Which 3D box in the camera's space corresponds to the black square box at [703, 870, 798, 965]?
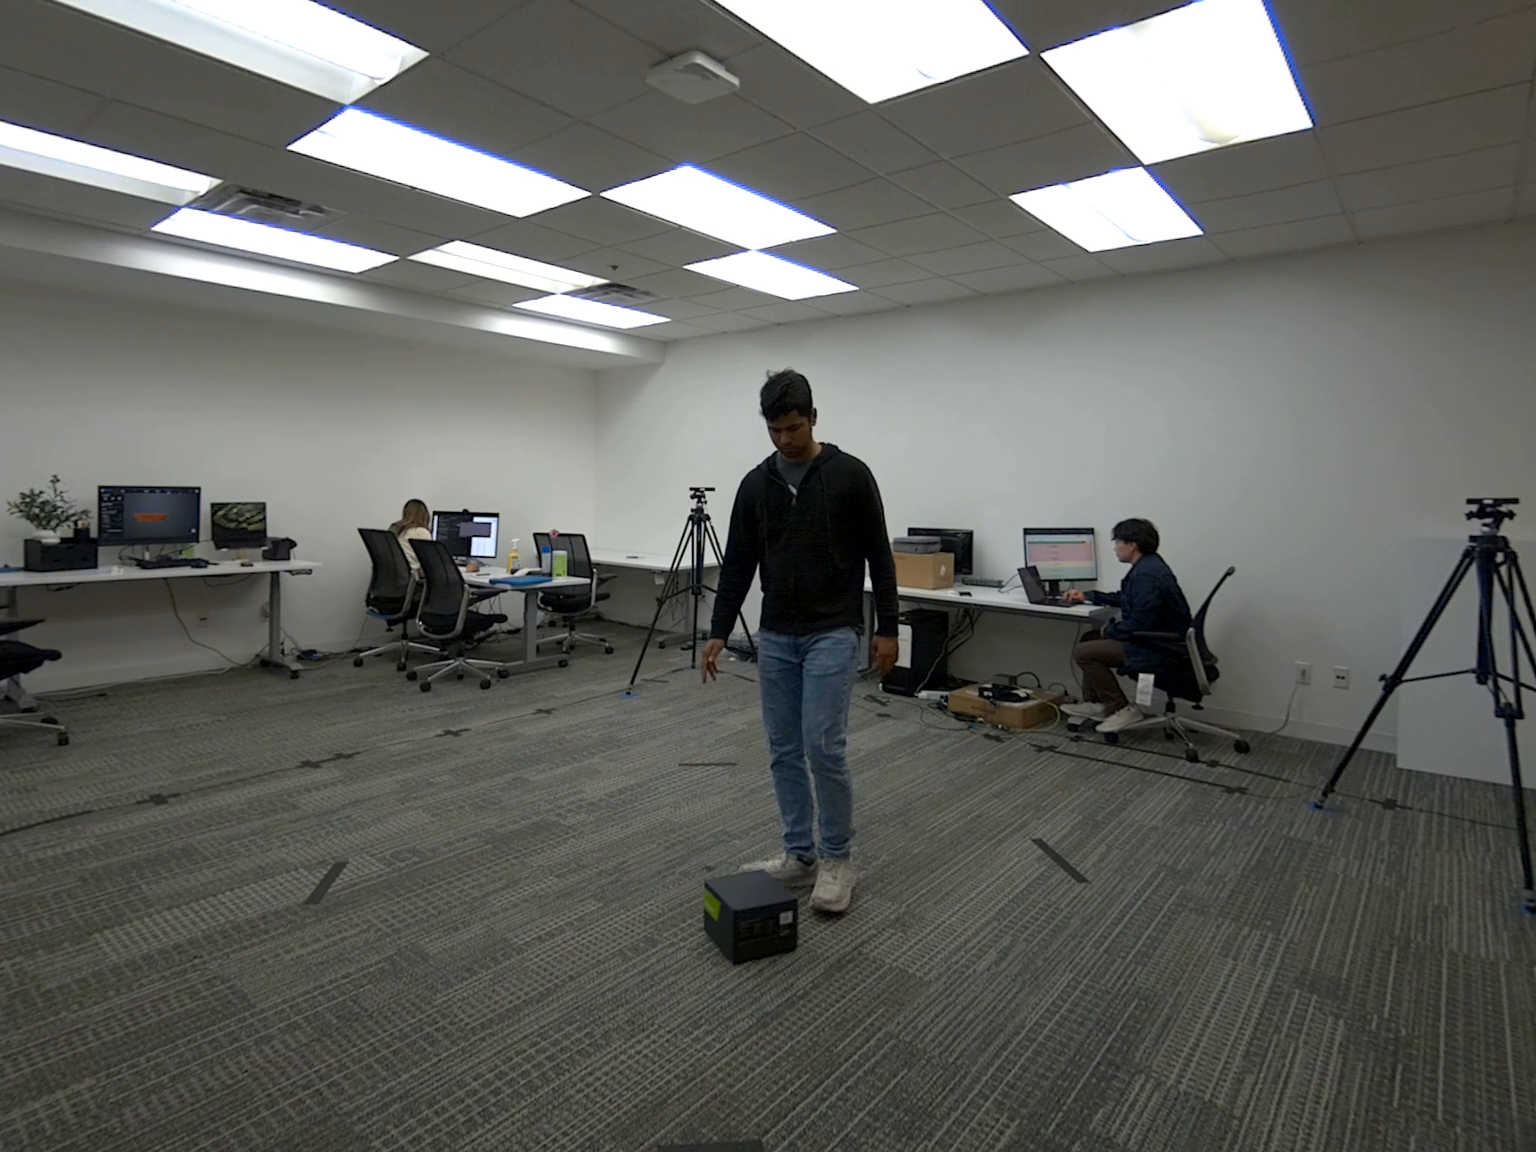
[{"bbox_3d":[-0.063,1.032,2.616,0.212,0.155,0.234,-1,5,-26],"label":"black square box"}]
